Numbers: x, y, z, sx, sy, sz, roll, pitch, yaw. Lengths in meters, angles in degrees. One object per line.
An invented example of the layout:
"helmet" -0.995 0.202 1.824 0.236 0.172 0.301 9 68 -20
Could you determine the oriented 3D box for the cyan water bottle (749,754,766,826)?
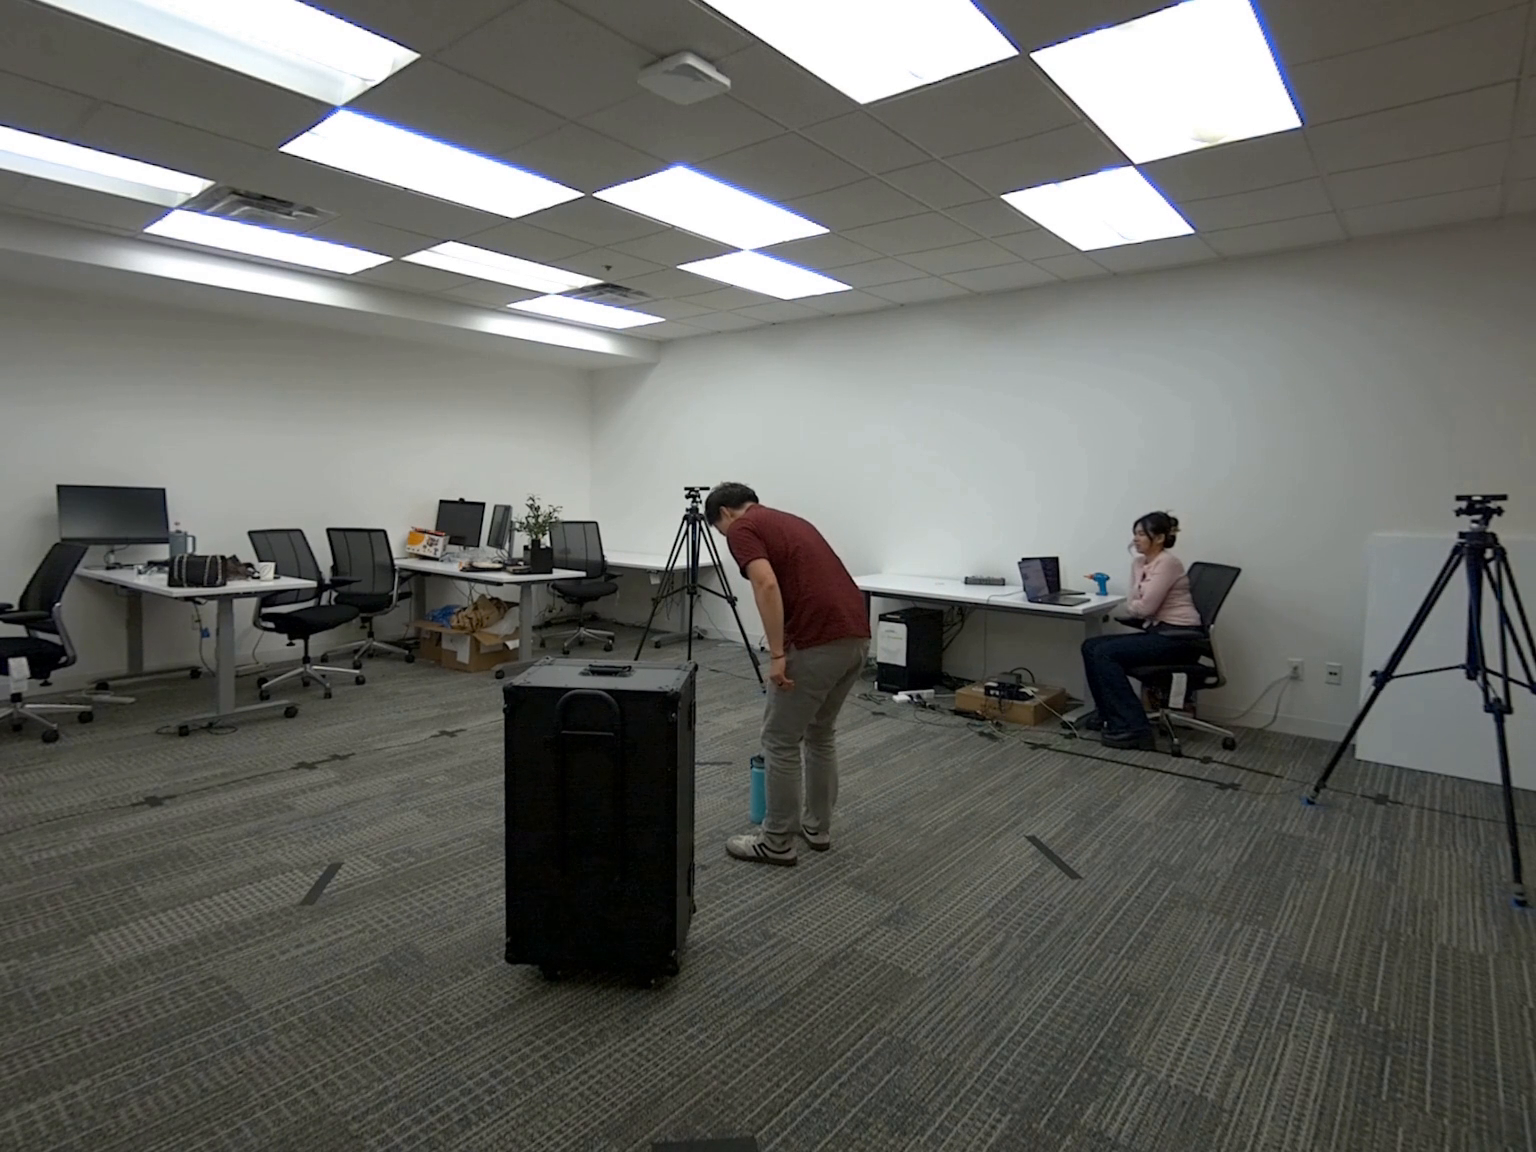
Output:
"cyan water bottle" -0.045 0.876 3.563 0.092 0.282 0.093 0 6 -2
